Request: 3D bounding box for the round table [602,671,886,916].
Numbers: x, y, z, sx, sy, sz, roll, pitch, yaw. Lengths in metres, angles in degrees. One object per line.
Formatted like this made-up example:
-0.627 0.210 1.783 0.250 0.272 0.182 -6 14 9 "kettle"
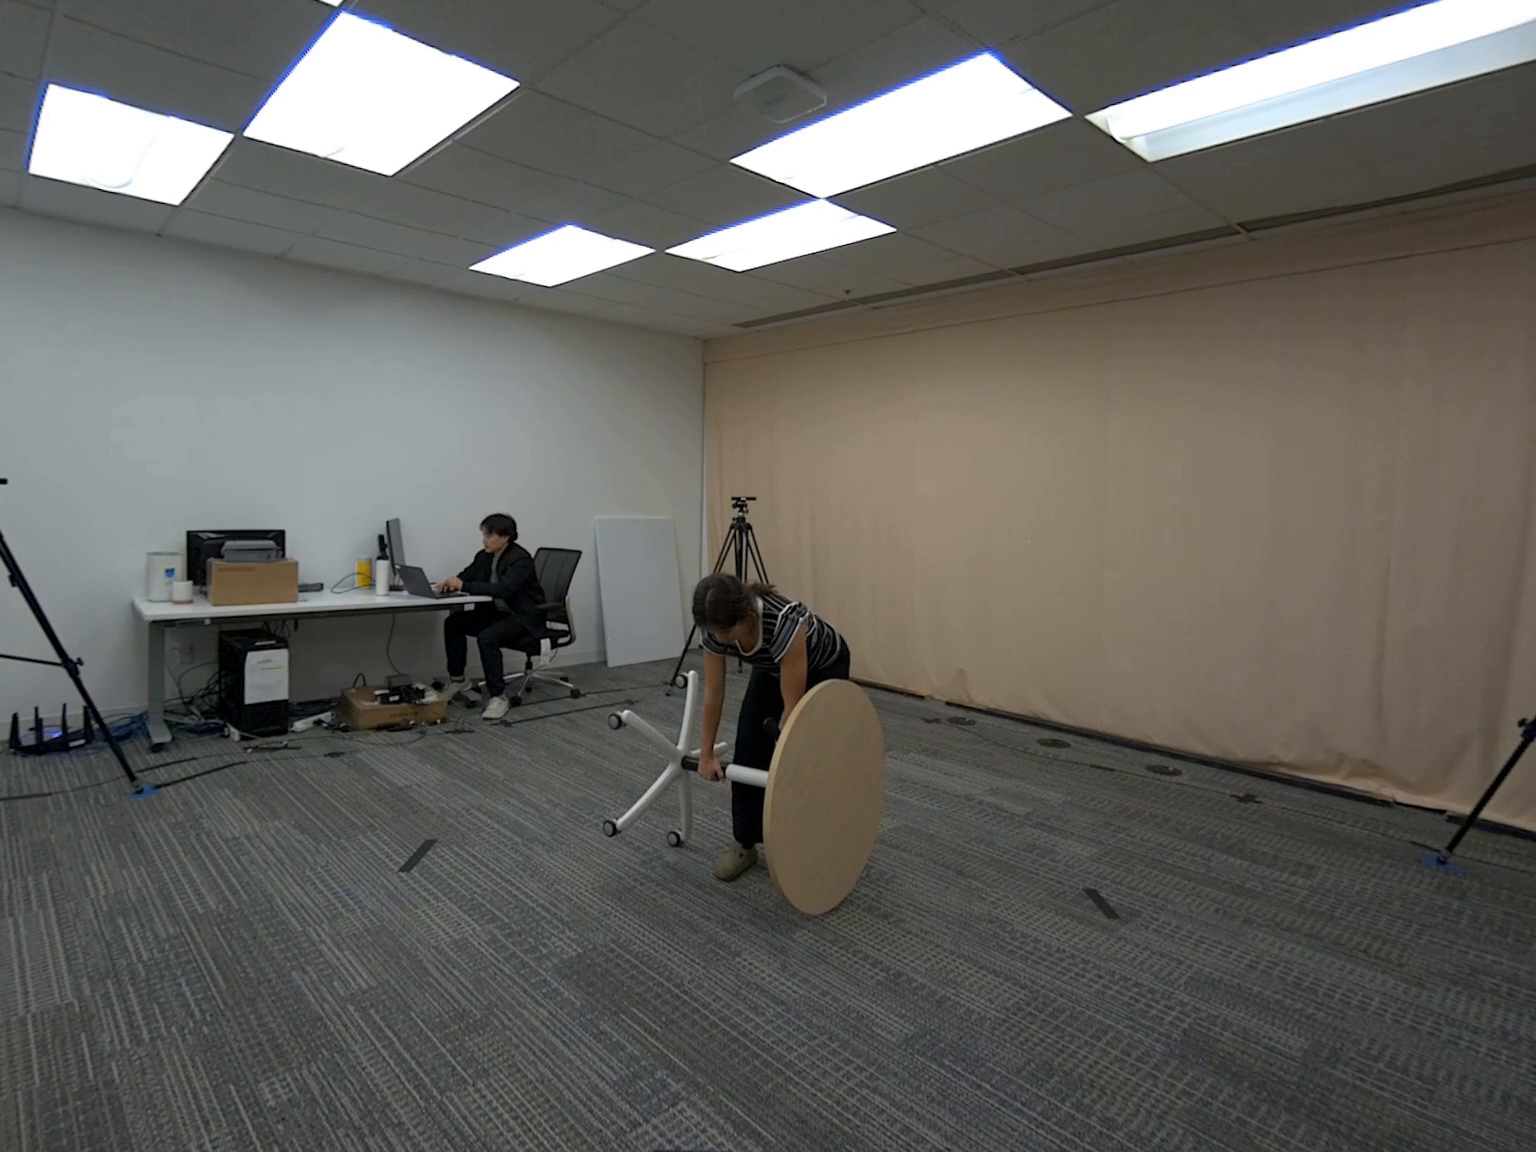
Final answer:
-0.114 0.732 3.078 0.812 0.763 0.747 1 3 36 "round table"
